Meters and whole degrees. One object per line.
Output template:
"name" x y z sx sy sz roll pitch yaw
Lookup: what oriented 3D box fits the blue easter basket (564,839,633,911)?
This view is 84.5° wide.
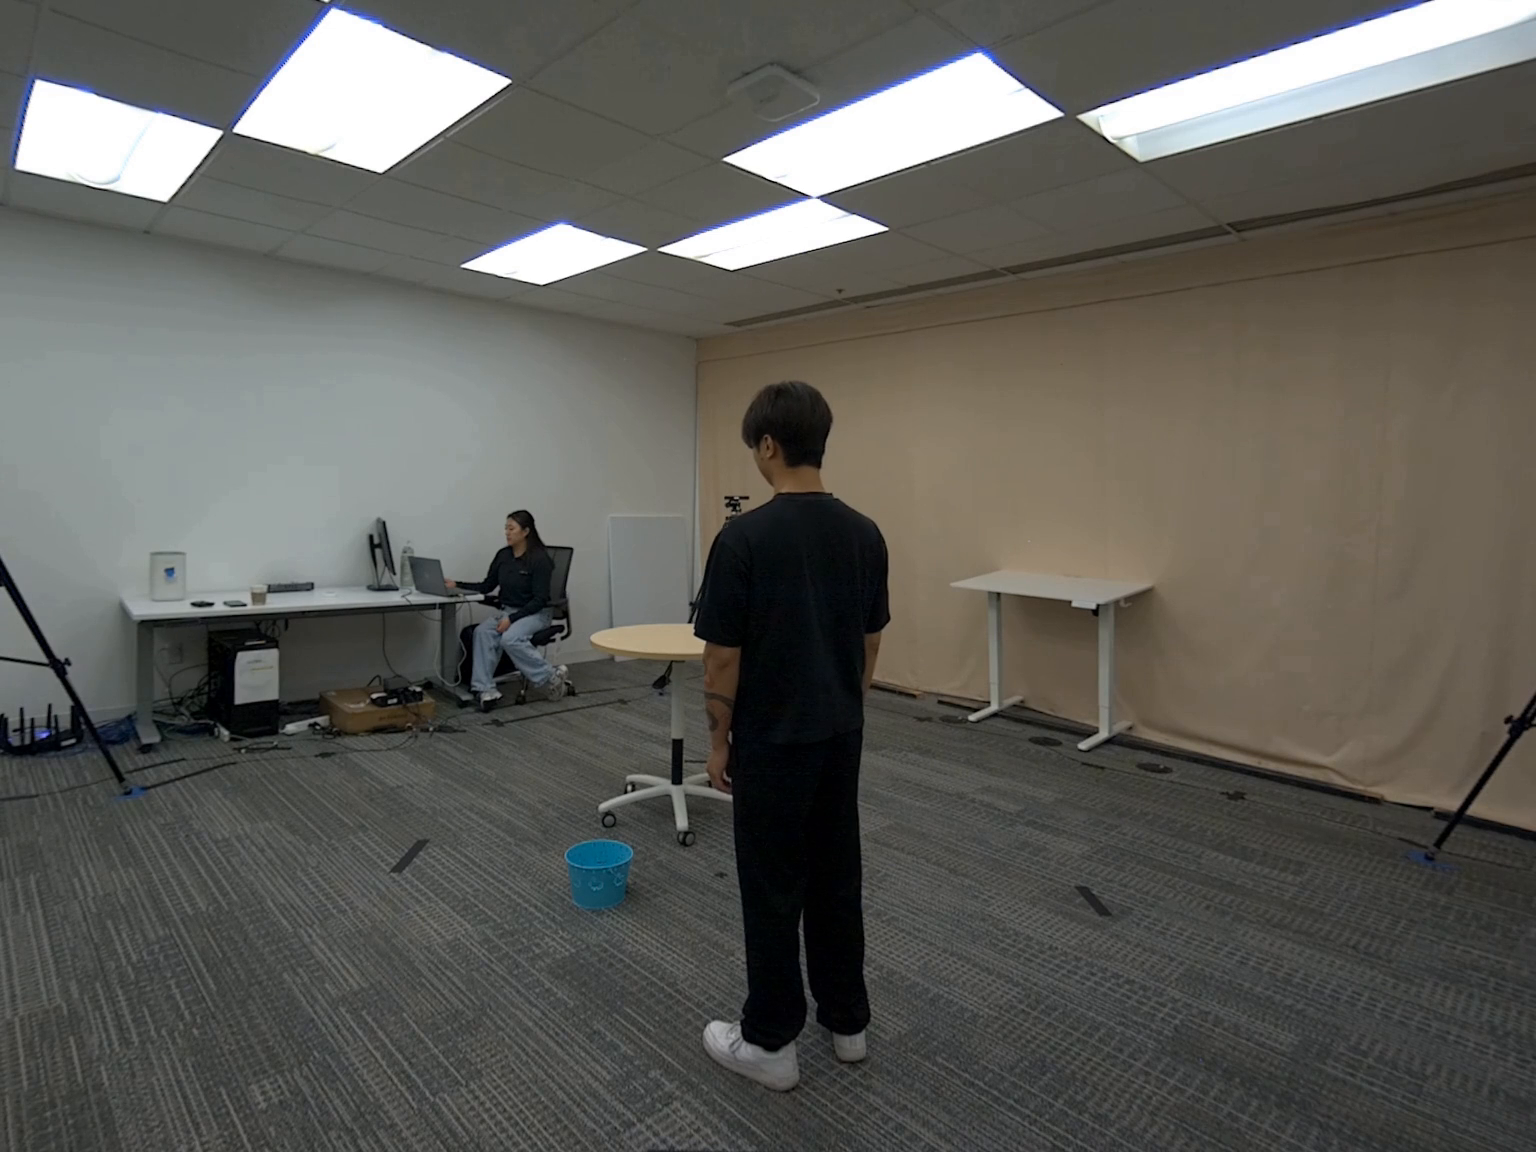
"blue easter basket" -0.587 1.034 2.909 0.243 0.155 0.244 2 5 -2
